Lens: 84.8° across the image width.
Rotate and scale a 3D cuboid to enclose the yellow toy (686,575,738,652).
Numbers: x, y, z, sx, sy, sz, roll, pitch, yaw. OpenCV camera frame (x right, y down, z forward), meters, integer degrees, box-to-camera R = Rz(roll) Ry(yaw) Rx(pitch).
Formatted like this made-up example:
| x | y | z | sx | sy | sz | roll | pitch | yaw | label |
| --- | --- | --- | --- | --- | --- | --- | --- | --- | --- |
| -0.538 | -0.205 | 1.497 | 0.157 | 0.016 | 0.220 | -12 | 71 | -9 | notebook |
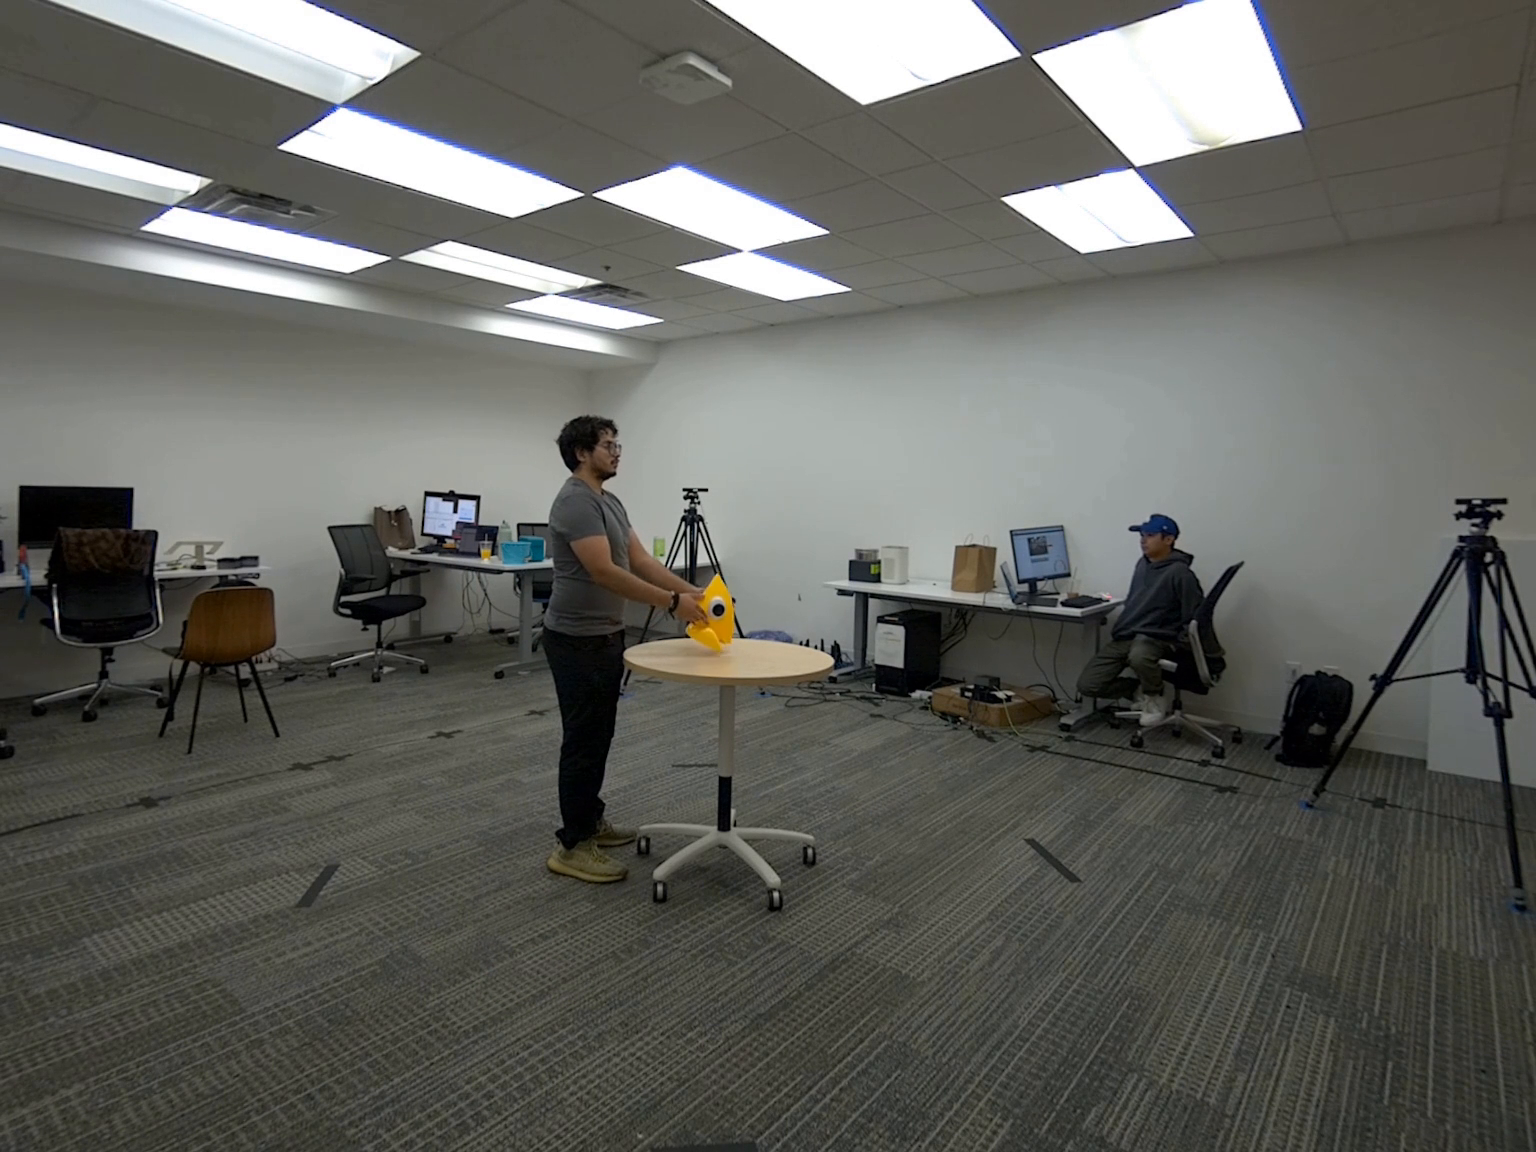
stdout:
| x | y | z | sx | sy | sz | roll | pitch | yaw | label |
| --- | --- | --- | --- | --- | --- | --- | --- | --- | --- |
| -0.190 | 0.115 | 3.122 | 0.196 | 0.229 | 0.203 | 25 | 10 | 8 | yellow toy |
